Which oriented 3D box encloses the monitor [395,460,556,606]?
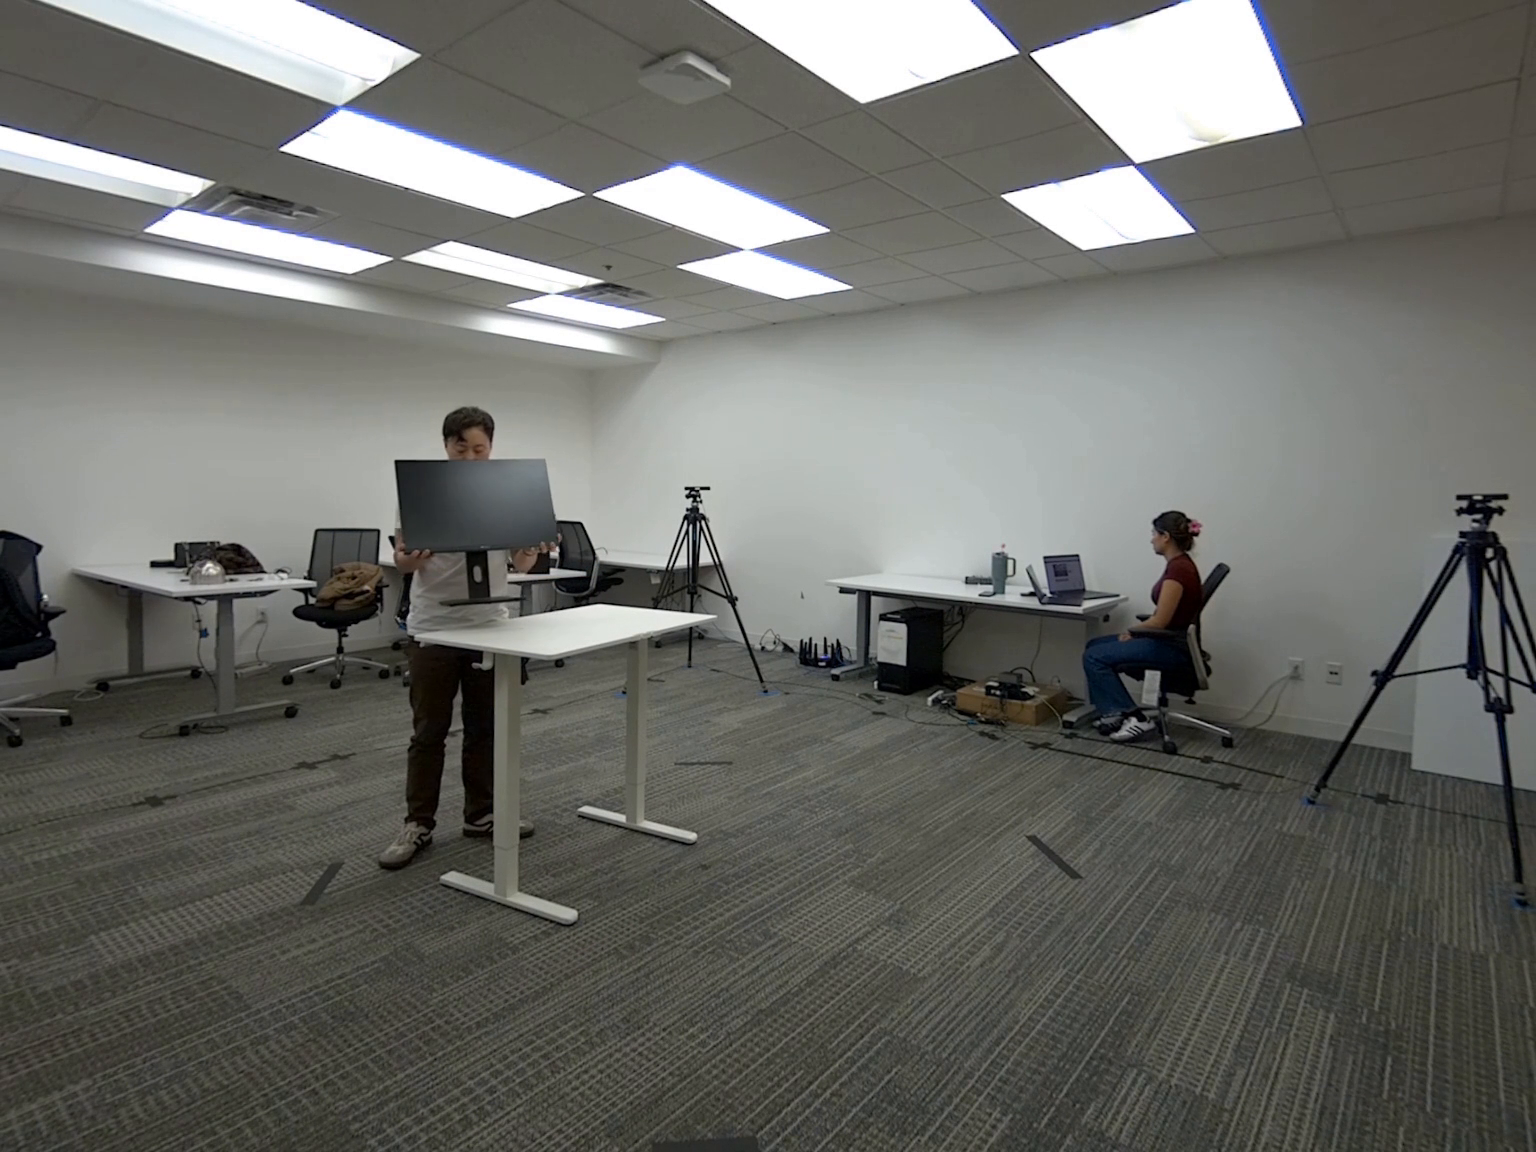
[{"bbox_3d":[-1.053,-0.164,3.038,0.525,0.525,0.191,-4,-5,-30],"label":"monitor"}]
